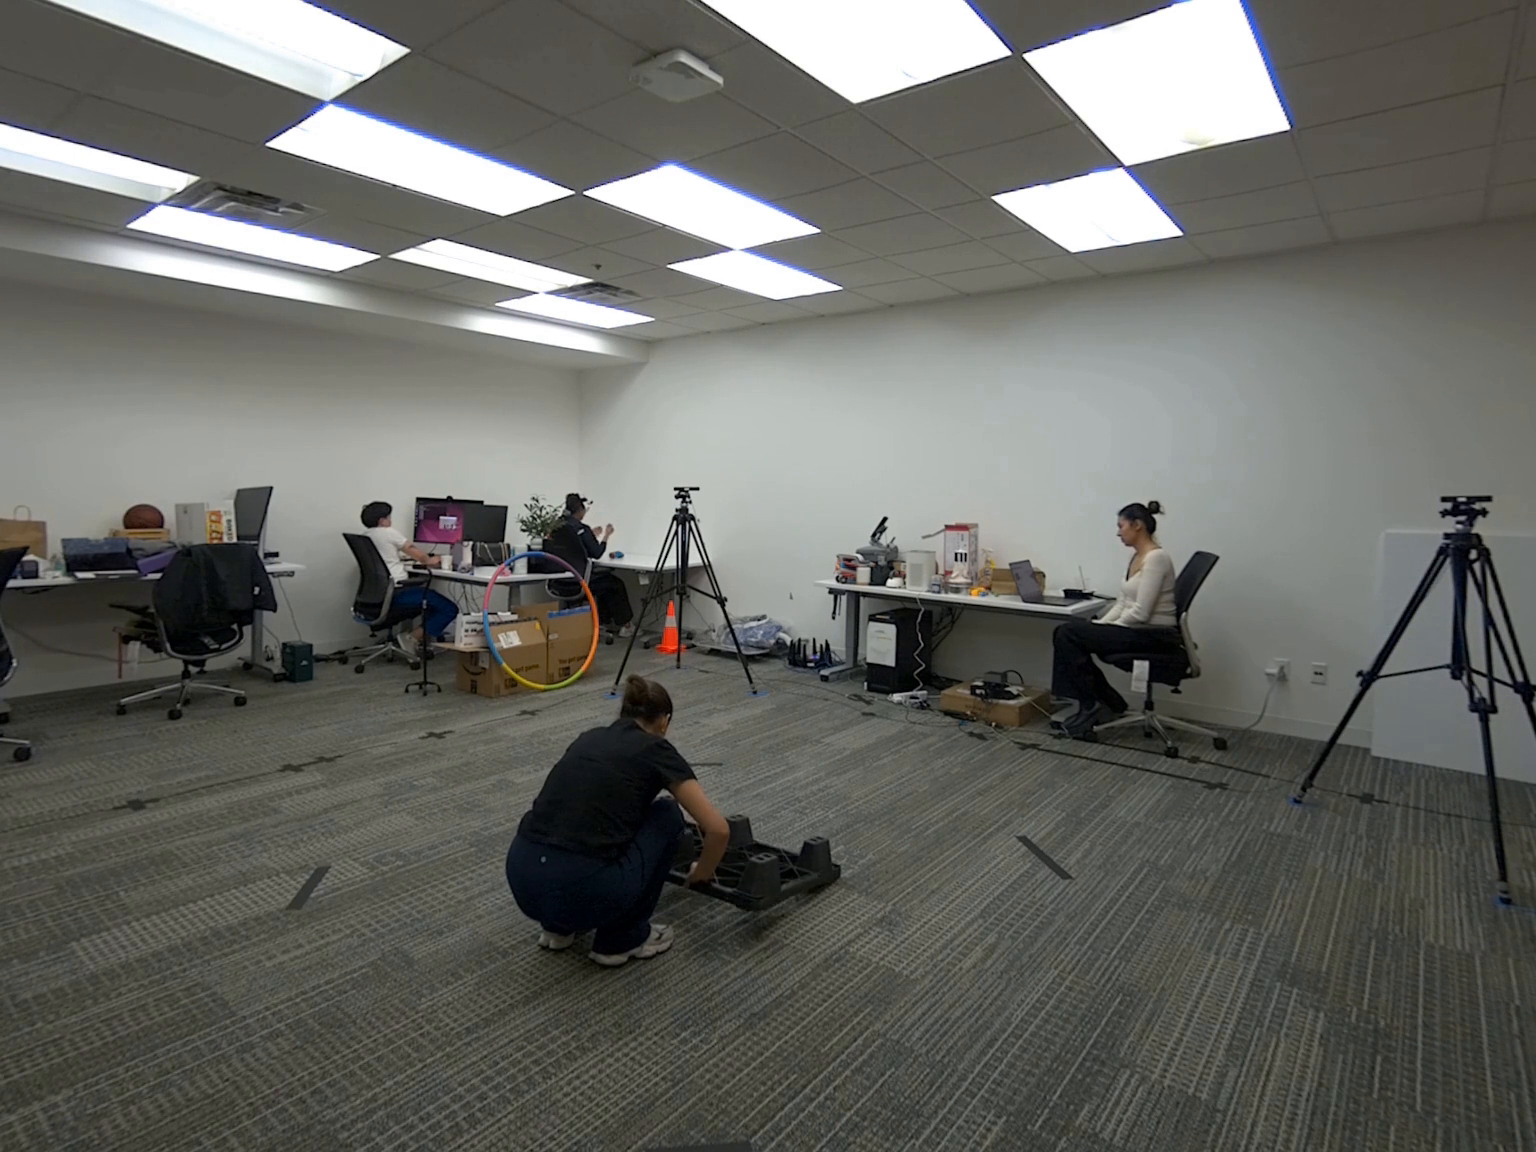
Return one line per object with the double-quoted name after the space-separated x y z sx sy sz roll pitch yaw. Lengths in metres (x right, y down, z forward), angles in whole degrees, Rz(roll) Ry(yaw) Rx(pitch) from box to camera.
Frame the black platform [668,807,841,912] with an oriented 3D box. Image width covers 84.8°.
-0.207 0.956 3.061 0.831 0.144 0.584 5 -3 33 "black platform"
